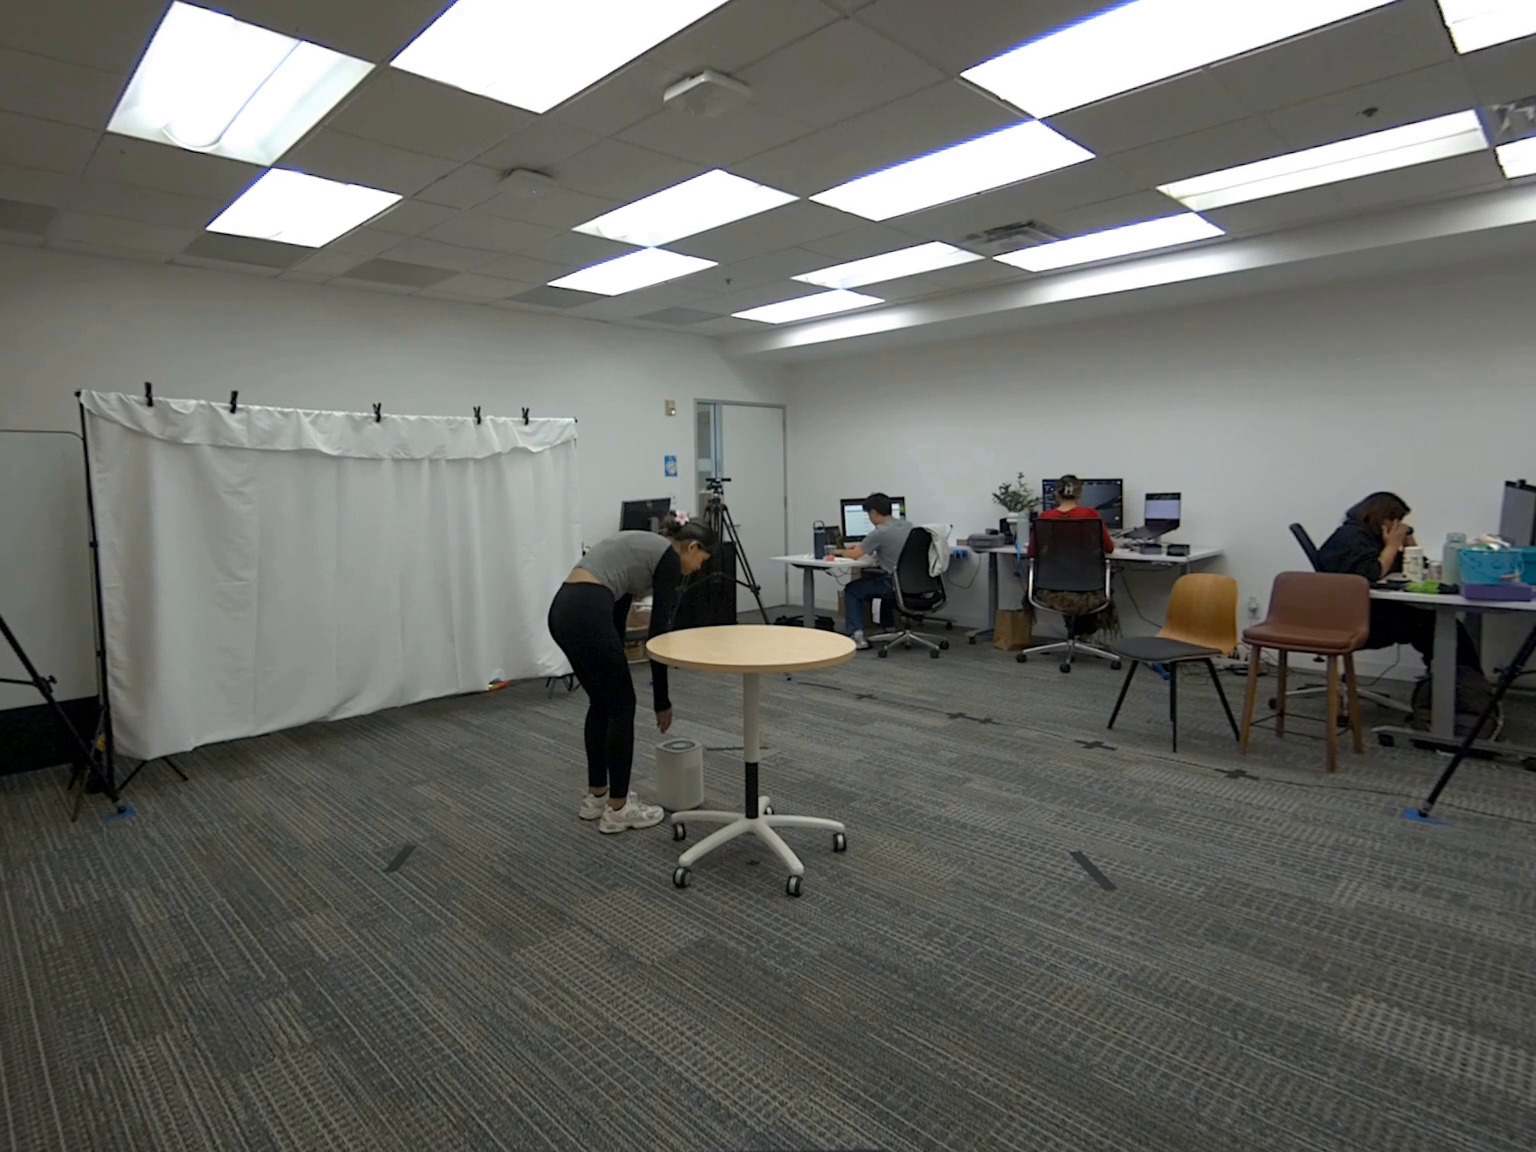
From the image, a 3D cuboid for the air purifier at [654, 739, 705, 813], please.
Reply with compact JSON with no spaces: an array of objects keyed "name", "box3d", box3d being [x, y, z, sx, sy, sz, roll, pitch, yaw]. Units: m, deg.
[{"name":"air purifier","box3d":[-0.373,0.855,3.661,0.176,0.264,0.167,4,6,40]}]
